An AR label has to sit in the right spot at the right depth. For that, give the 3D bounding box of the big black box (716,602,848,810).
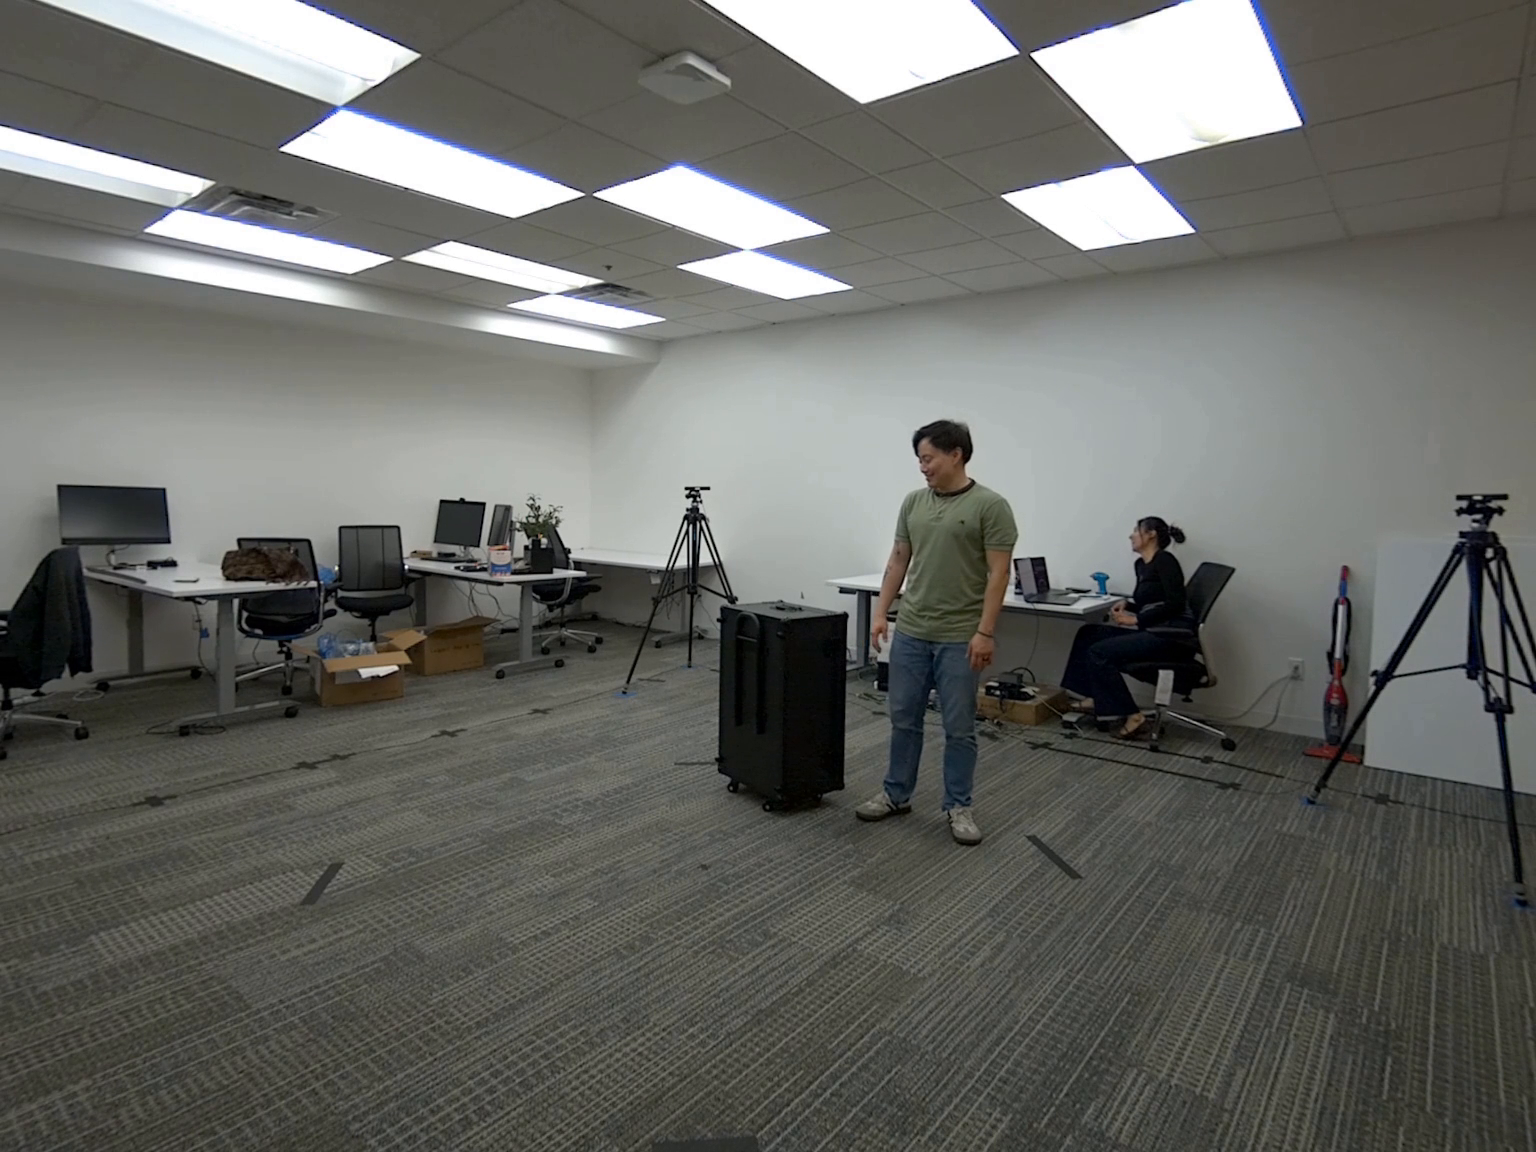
[{"bbox_3d":[0.040,0.567,3.839,0.385,0.858,0.538,-2,5,-36],"label":"big black box"}]
